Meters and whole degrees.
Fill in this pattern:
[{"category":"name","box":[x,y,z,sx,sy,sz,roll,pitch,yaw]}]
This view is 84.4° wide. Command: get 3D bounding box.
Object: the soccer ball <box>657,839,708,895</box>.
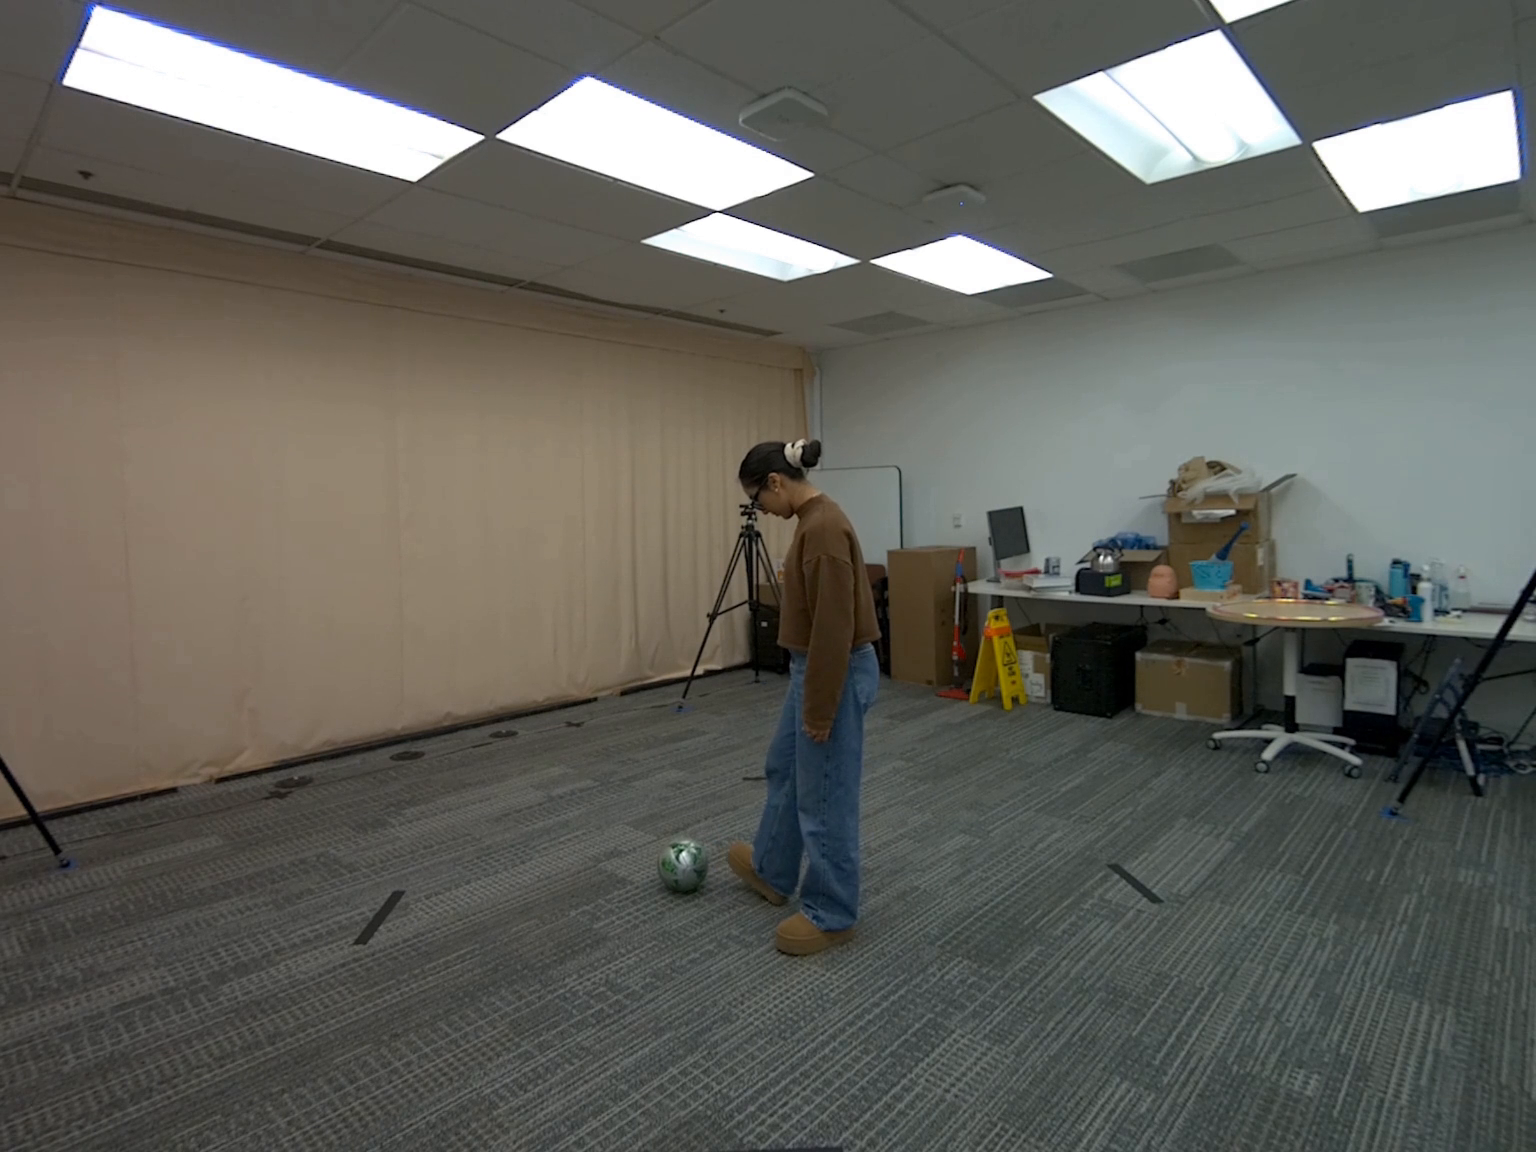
[{"category":"soccer ball","box":[-0.307,1.050,3.056,0.187,0.187,0.188,-1,4,-2]}]
